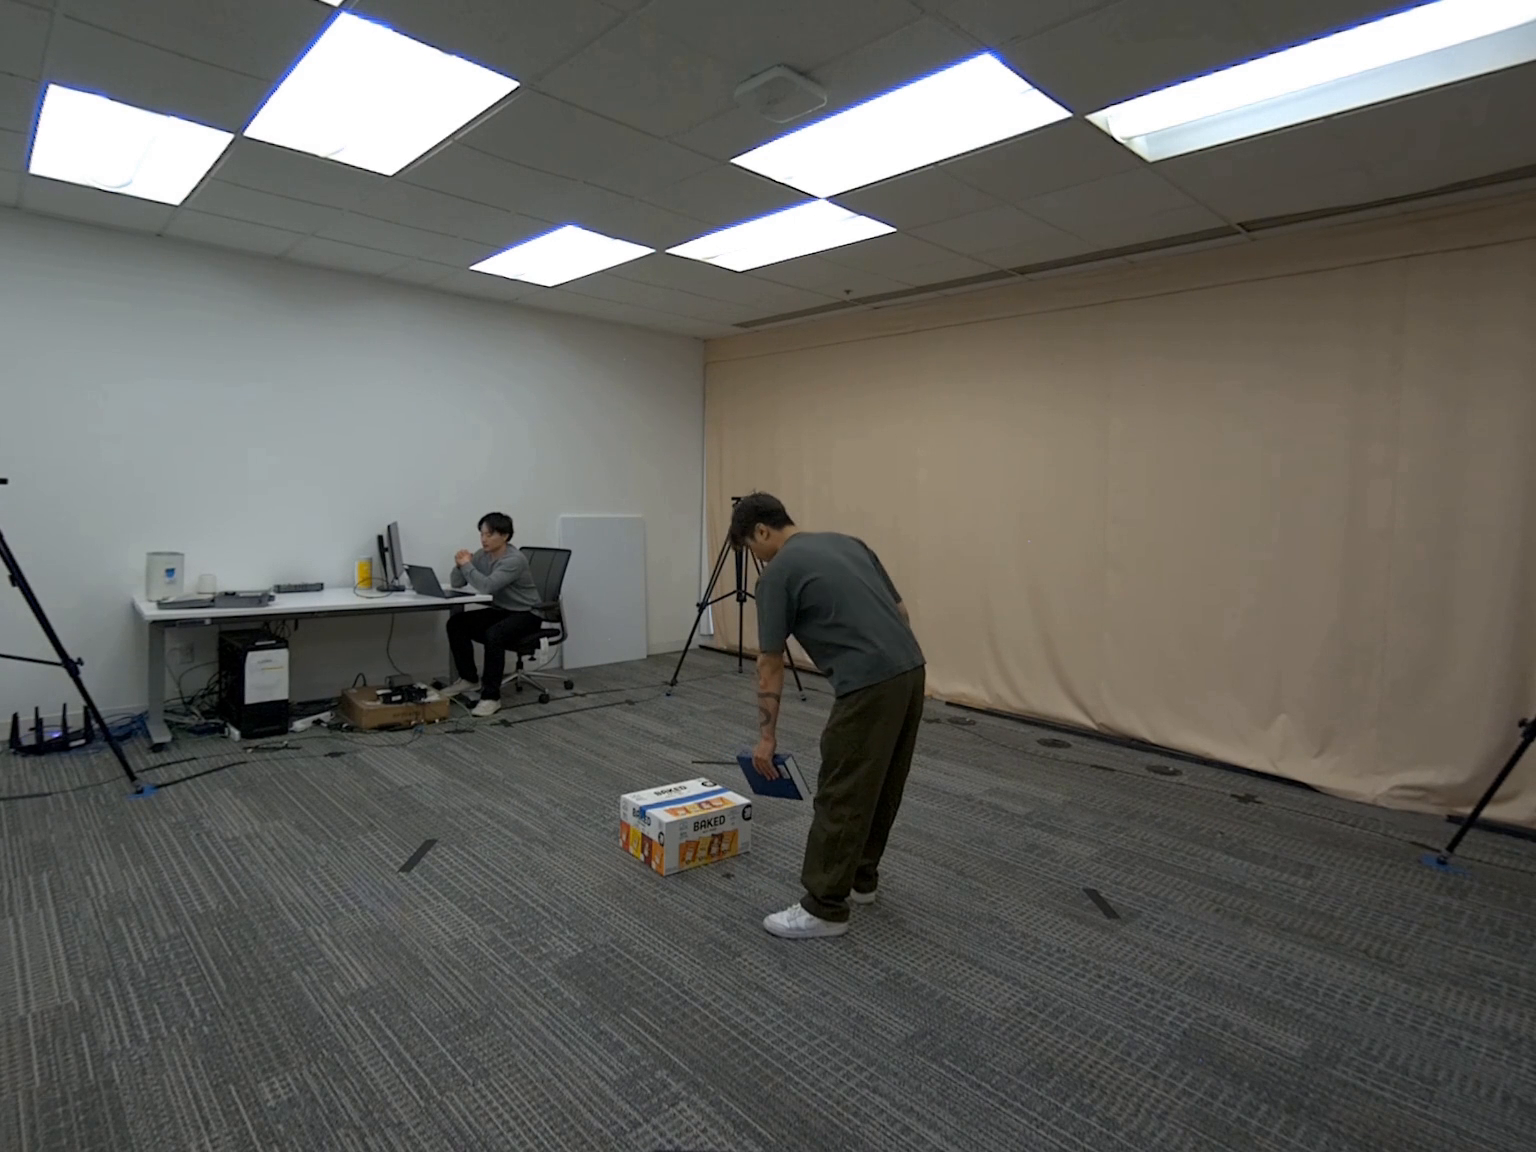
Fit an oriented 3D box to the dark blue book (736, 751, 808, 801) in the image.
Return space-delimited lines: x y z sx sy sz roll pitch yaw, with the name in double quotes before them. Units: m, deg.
"dark blue book" 0.010 0.681 2.897 0.250 0.161 0.045 -8 20 48
